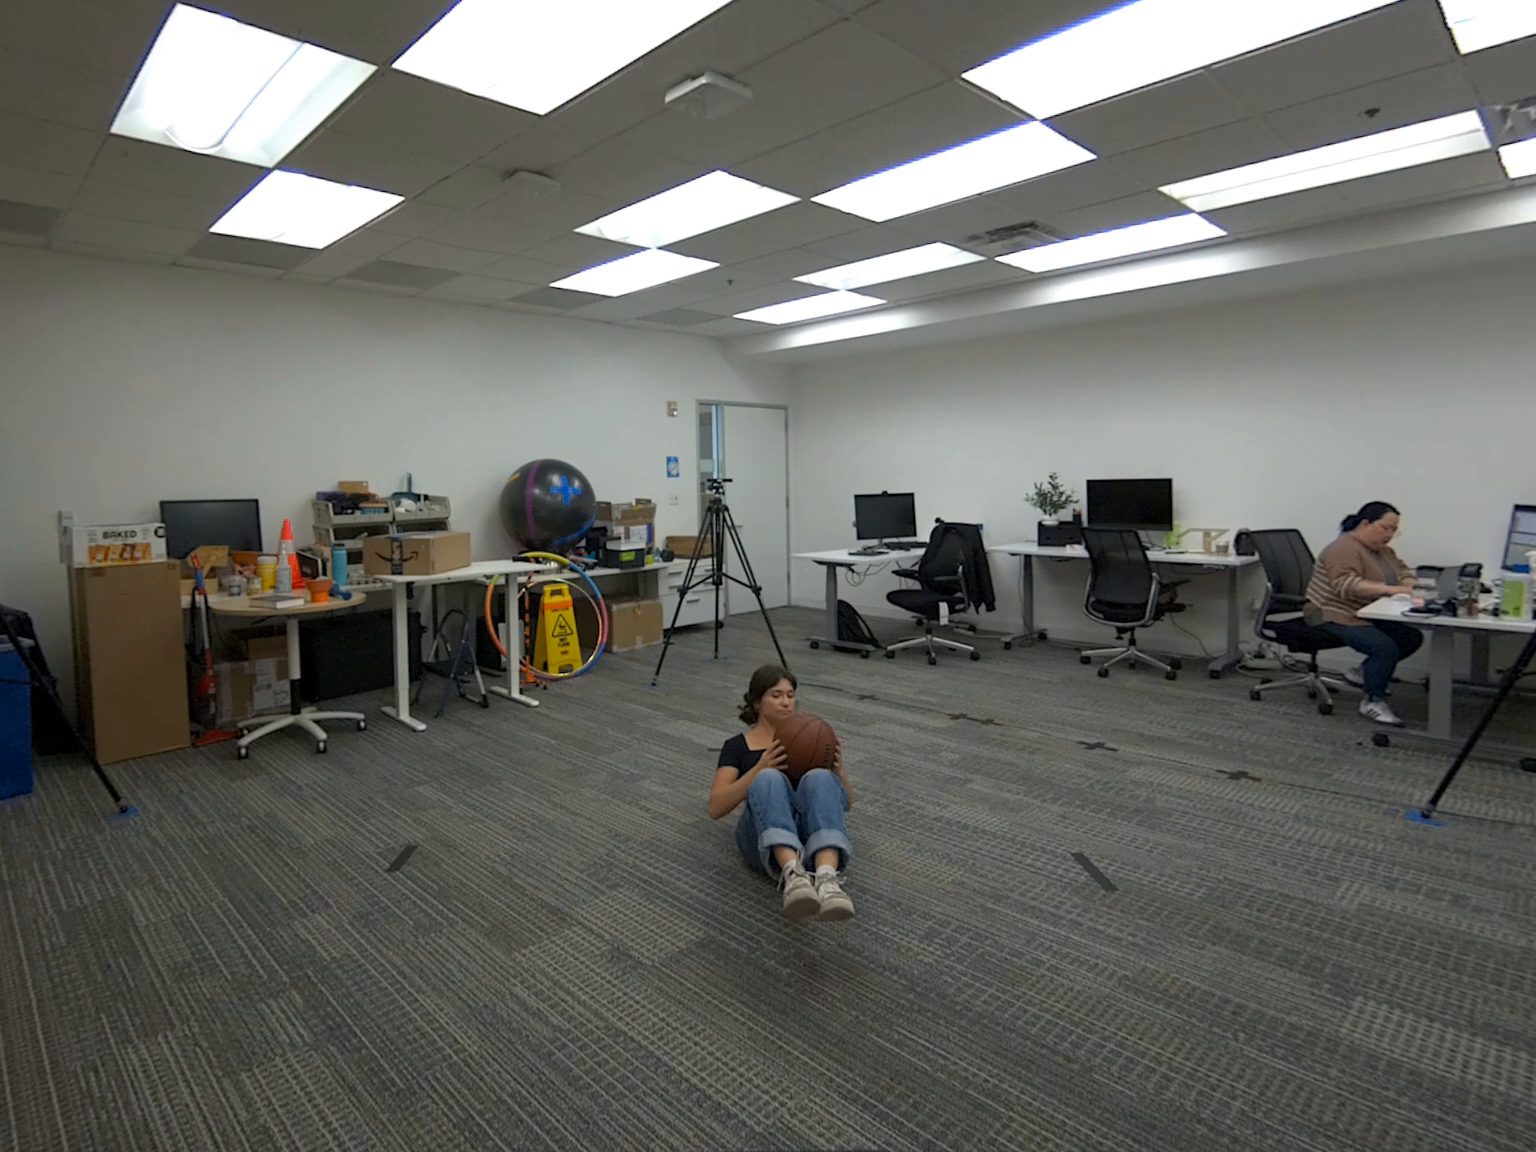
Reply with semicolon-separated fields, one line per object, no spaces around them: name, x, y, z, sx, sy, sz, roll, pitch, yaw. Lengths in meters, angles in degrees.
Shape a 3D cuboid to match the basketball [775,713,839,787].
basketball;0.134;0.628;3.141;0.236;0.235;0.237;-1;5;-2
